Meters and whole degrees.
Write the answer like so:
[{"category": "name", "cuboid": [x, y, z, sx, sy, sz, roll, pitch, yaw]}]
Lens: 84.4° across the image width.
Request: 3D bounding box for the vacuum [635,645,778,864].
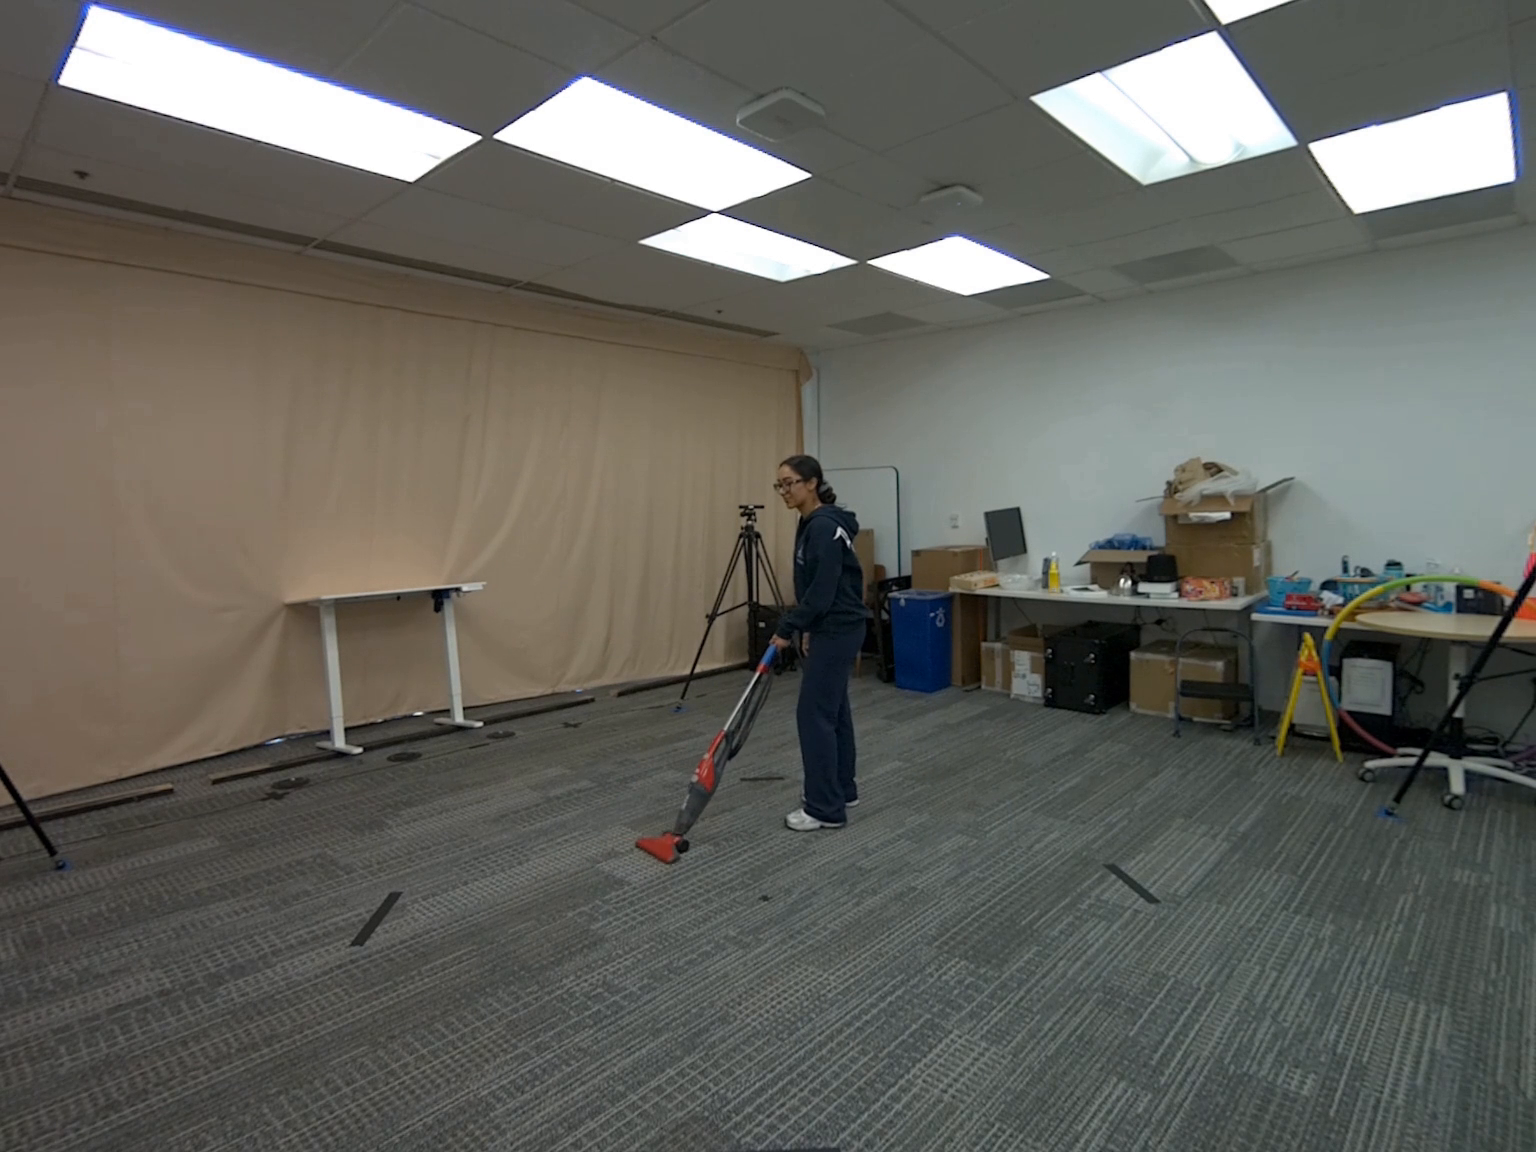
[{"category": "vacuum", "cuboid": [-0.173, 0.695, 3.580, 0.261, 1.048, 0.139, 7, -32, 48]}]
